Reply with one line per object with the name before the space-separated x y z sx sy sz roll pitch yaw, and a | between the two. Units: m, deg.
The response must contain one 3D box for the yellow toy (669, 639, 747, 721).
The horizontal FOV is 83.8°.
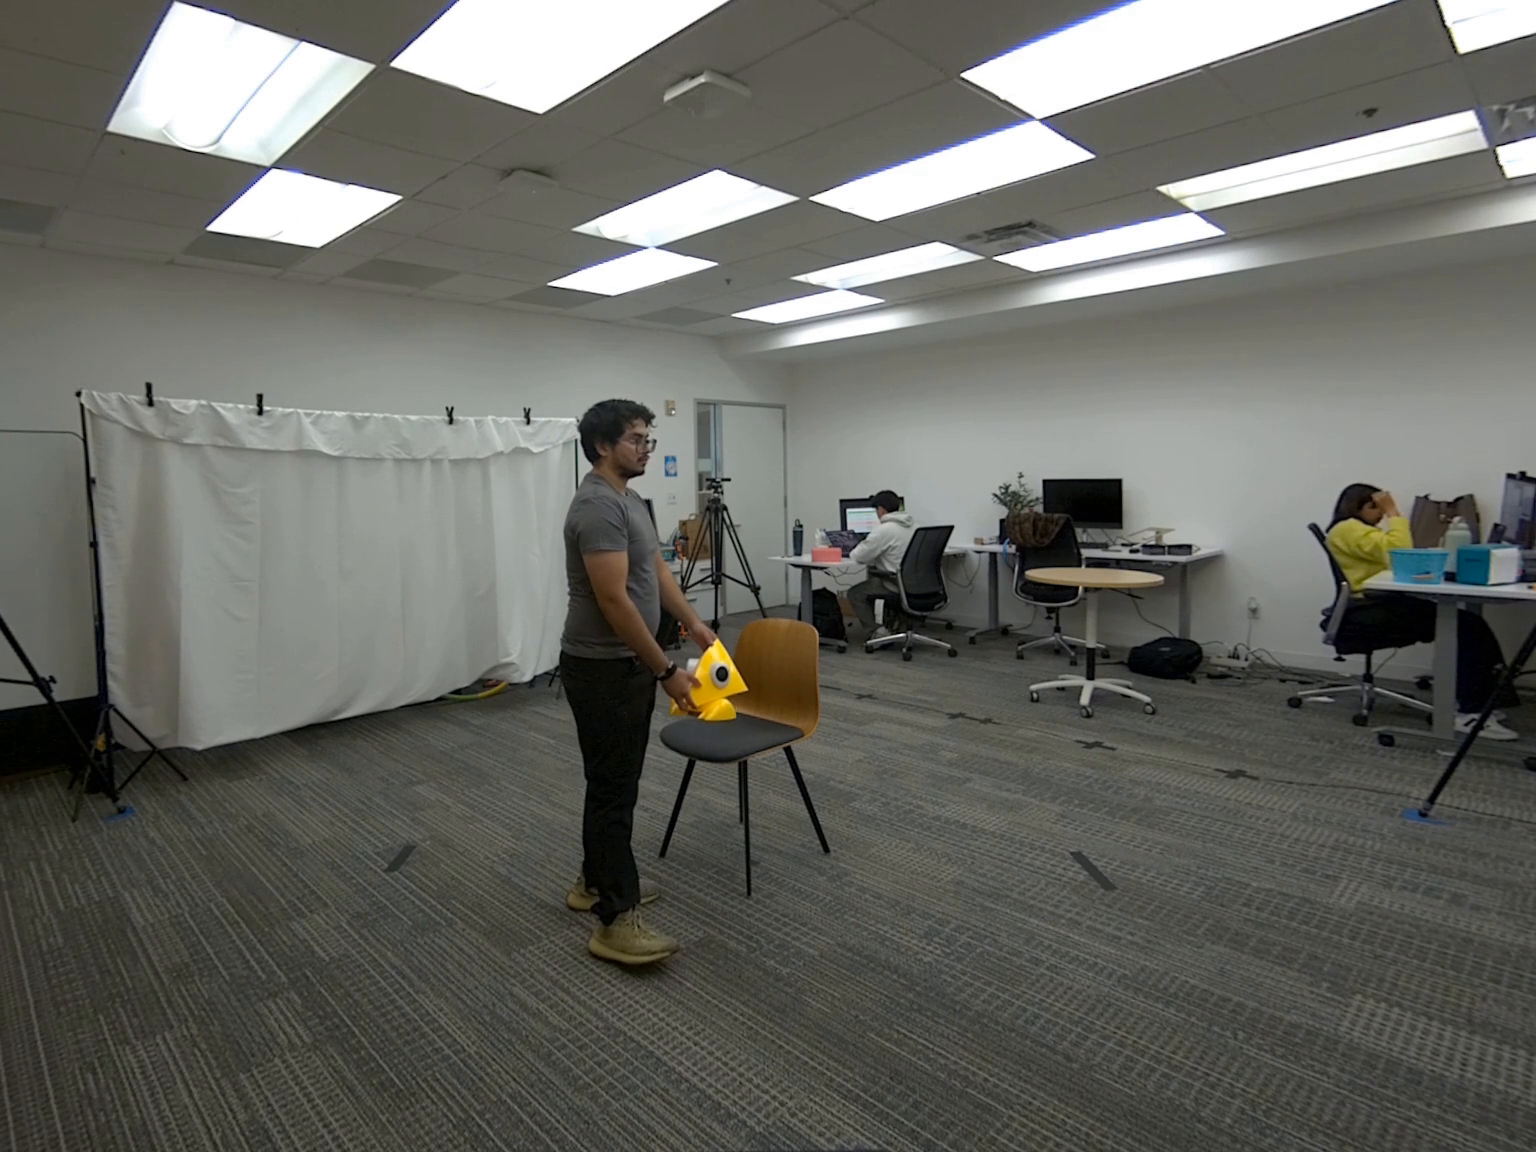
yellow toy | -0.191 0.315 2.621 0.210 0.231 0.188 2 -3 29
